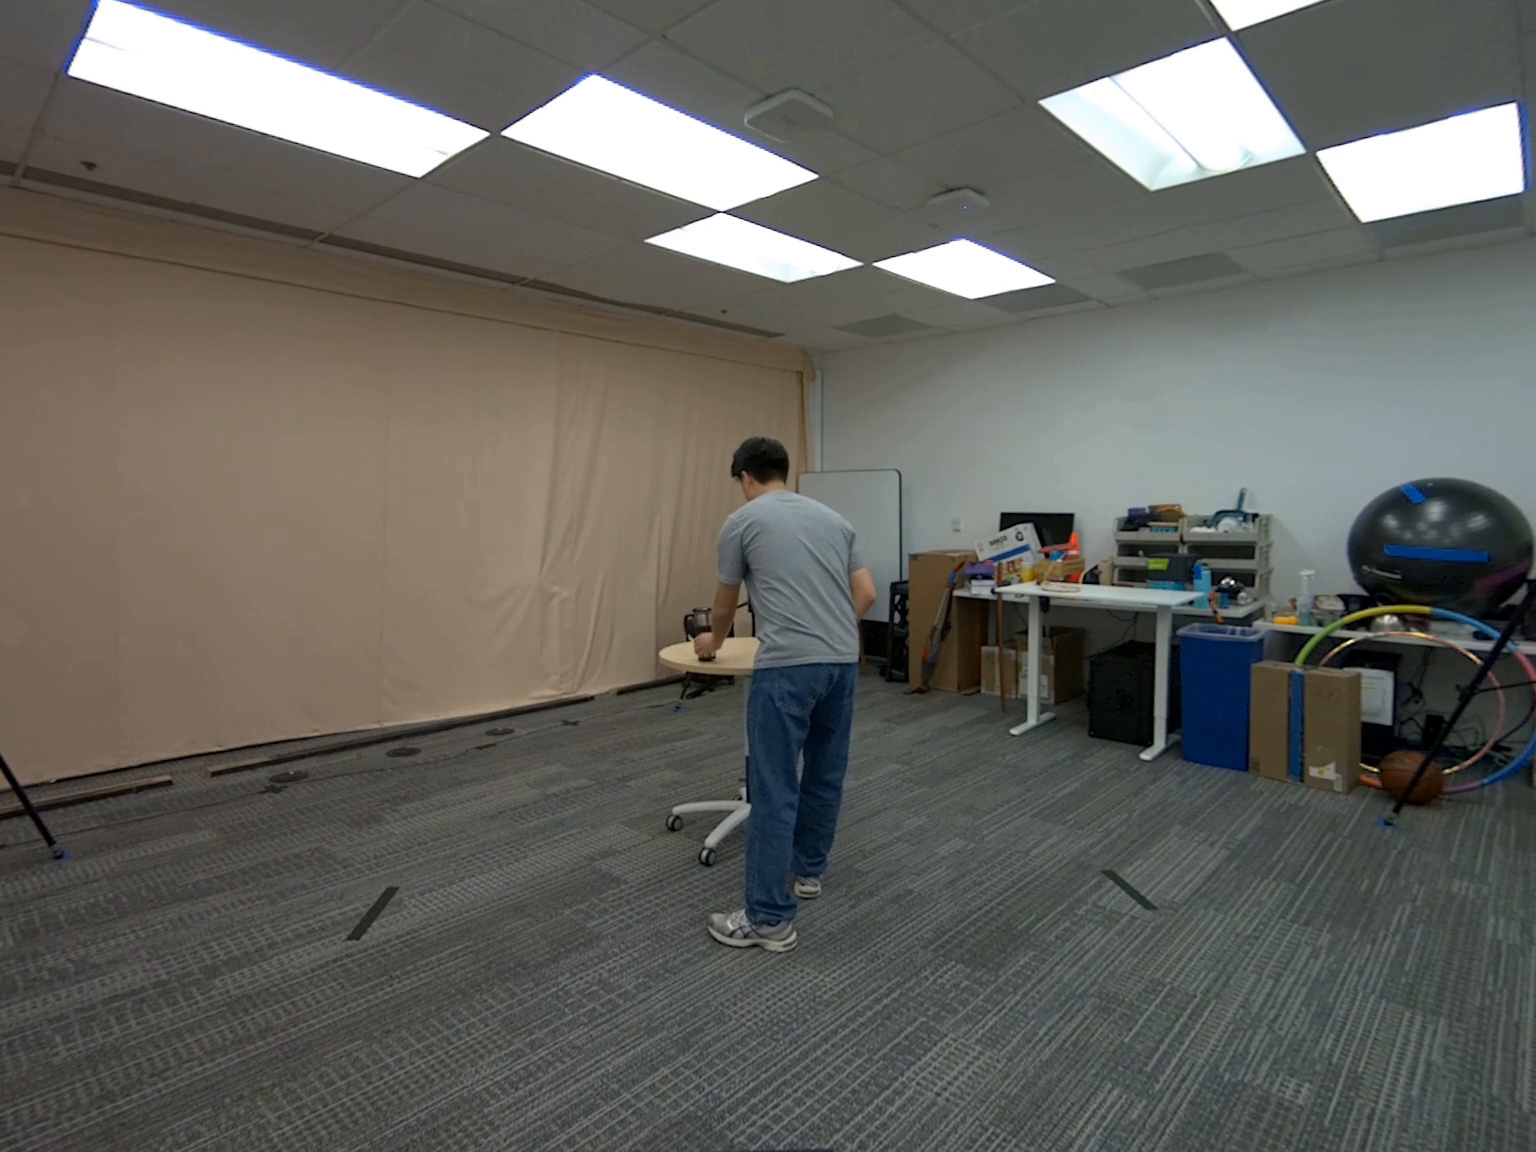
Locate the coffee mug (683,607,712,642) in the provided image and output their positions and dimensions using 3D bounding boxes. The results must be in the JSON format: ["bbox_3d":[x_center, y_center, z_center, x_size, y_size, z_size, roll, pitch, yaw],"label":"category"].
[{"bbox_3d":[-0.268,0.224,3.350,0.125,0.202,0.086,-2,4,26],"label":"coffee mug"}]
